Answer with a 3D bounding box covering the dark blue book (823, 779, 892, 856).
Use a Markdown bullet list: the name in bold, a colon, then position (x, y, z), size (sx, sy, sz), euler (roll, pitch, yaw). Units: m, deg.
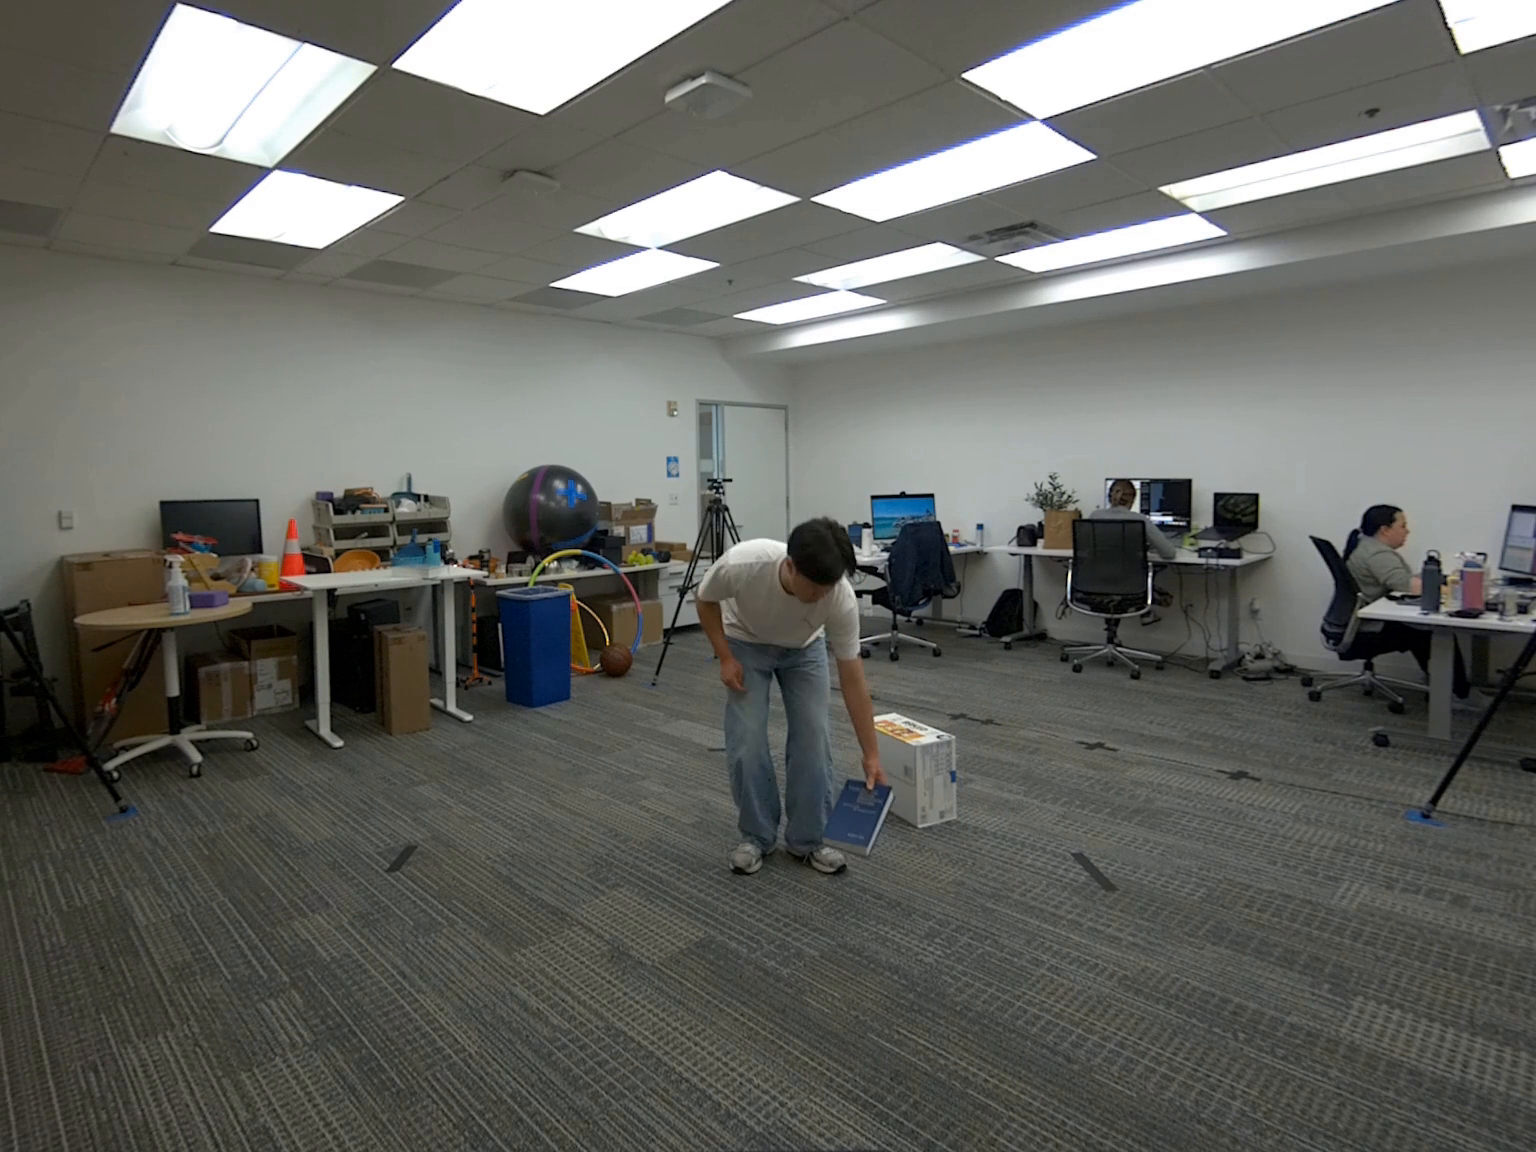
- **dark blue book**: position (0.288, 0.774, 2.765), size (0.167, 0.044, 0.246), euler (-1, 35, 30)
